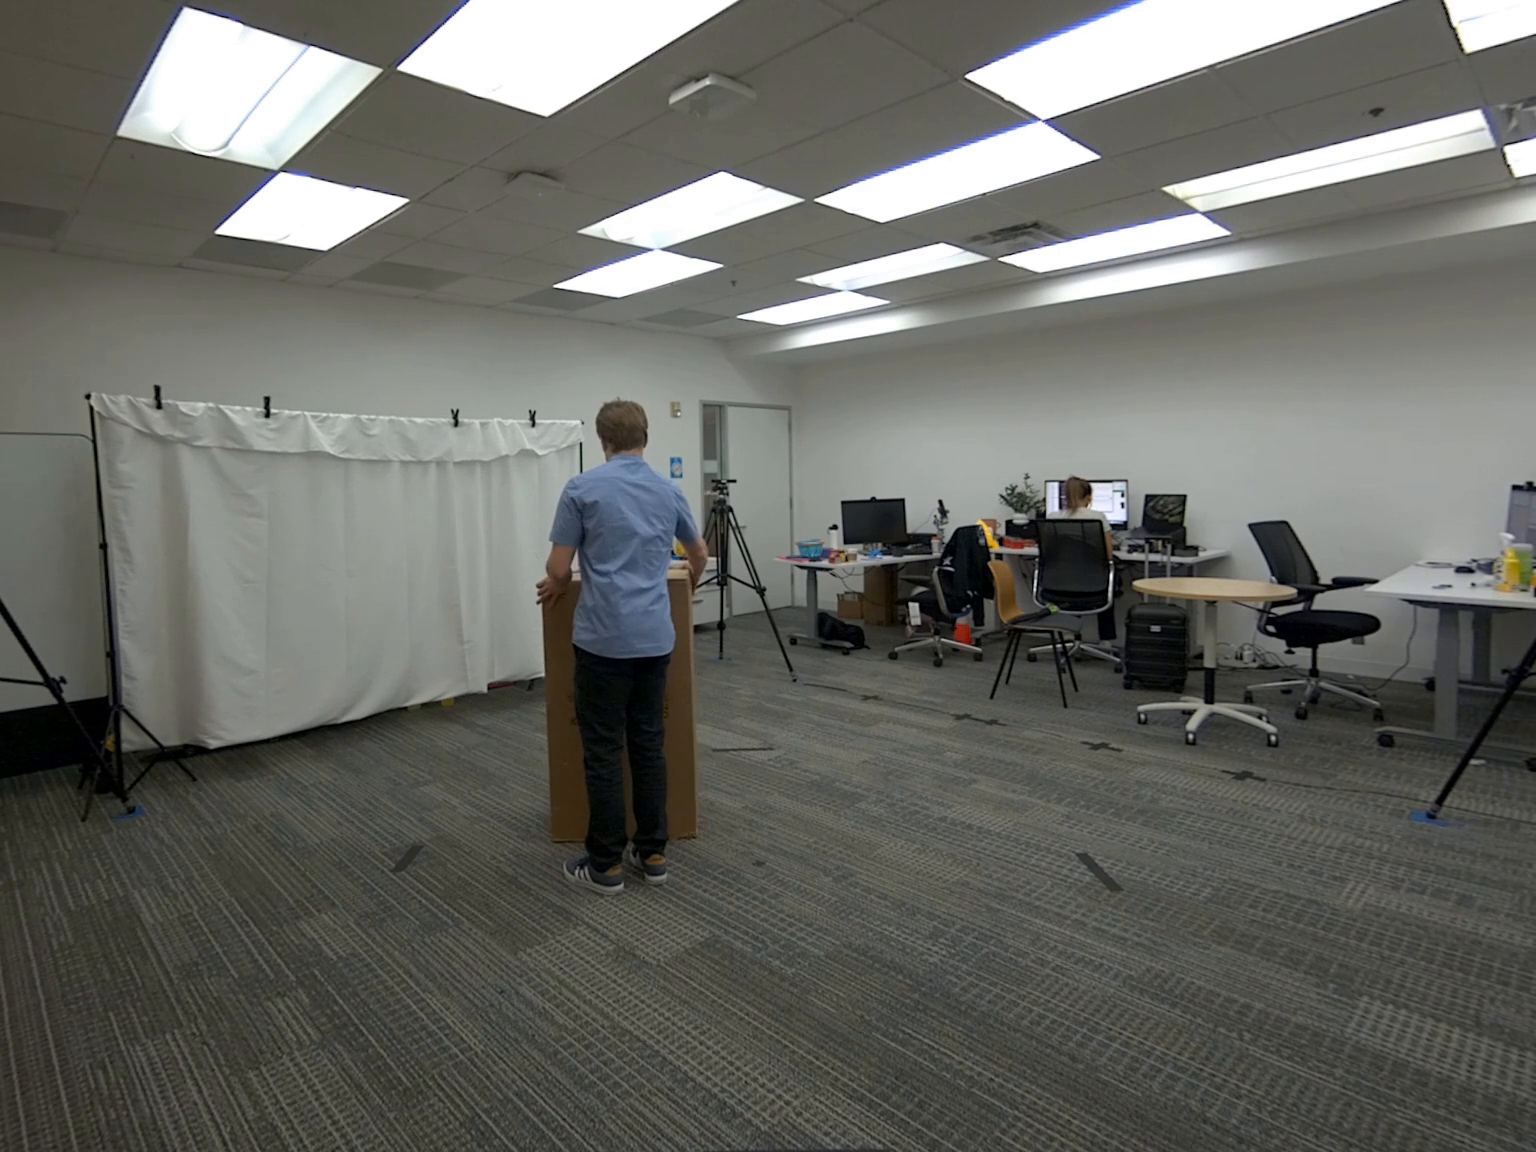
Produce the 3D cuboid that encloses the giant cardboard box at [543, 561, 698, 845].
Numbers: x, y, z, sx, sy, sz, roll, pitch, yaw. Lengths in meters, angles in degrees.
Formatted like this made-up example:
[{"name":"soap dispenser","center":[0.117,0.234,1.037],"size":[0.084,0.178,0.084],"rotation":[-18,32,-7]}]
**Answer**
[{"name":"giant cardboard box","center":[-0.595,0.505,3.526],"size":[0.576,1.024,0.428],"rotation":[-1,2,-3]}]
